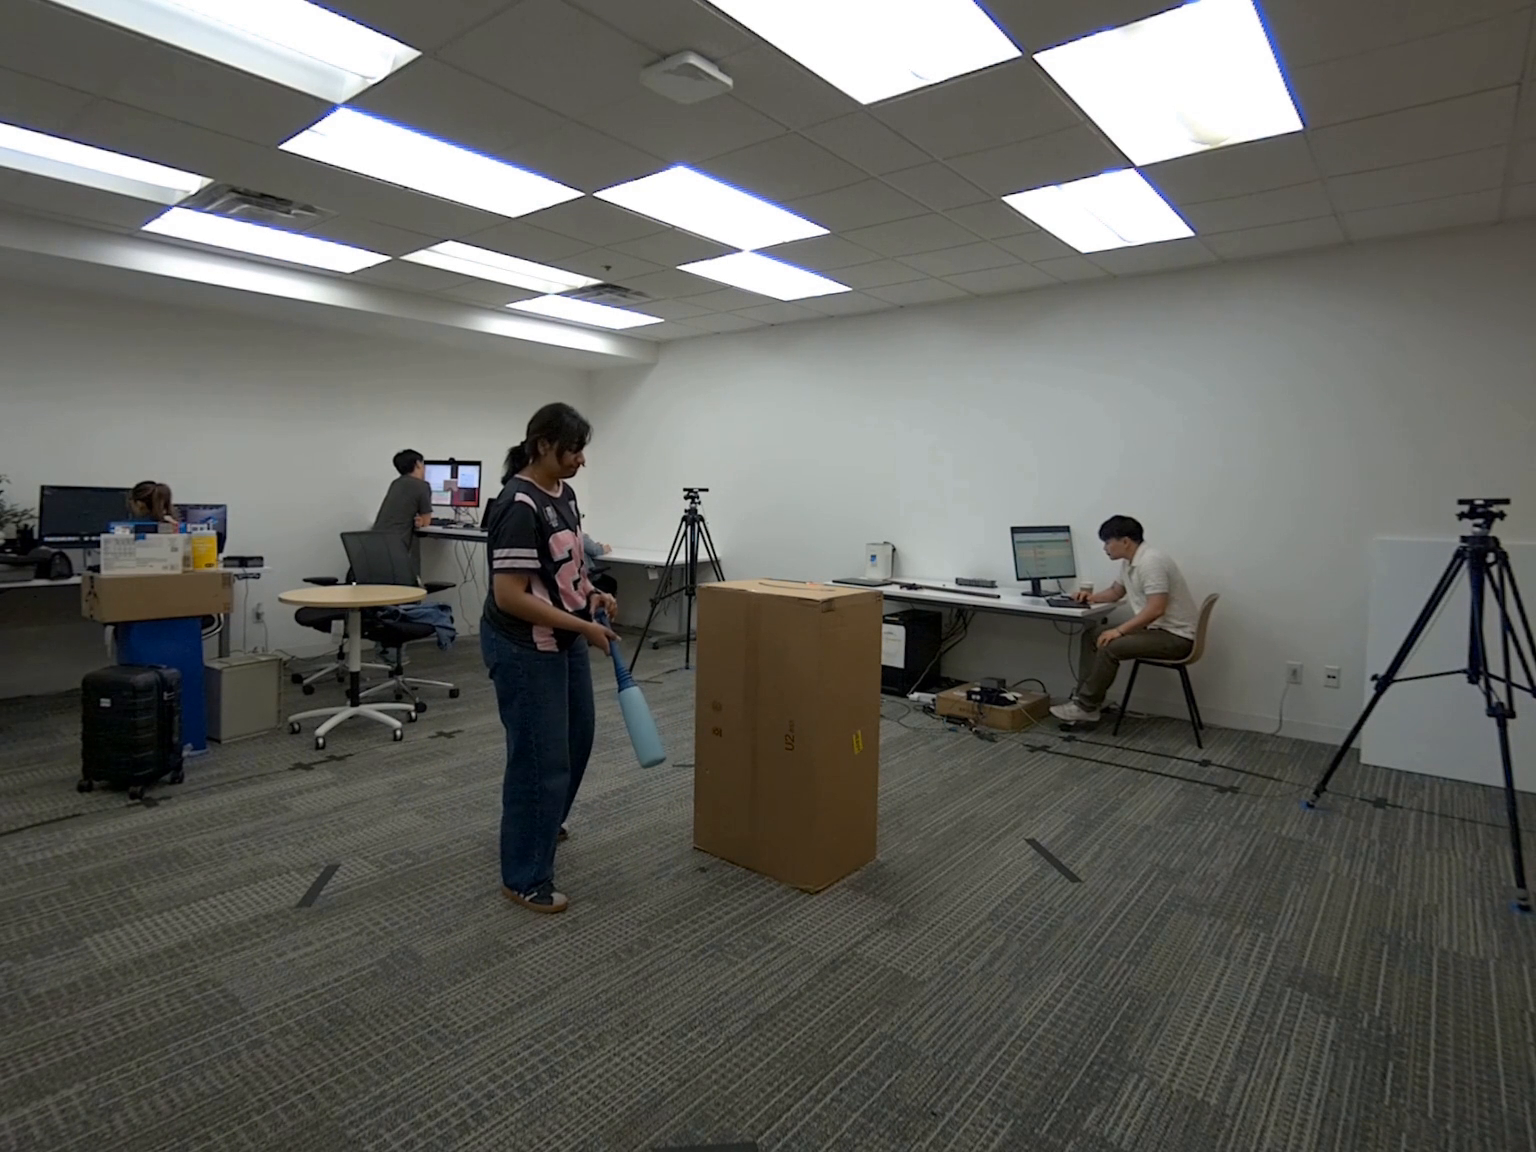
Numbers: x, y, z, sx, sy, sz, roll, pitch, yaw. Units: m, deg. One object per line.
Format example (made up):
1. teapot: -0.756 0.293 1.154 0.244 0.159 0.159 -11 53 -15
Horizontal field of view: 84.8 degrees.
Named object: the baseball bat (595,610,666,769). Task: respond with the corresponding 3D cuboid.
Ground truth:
1. baseball bat: -0.462 0.347 2.739 0.088 0.558 0.087 -18 -23 -9
